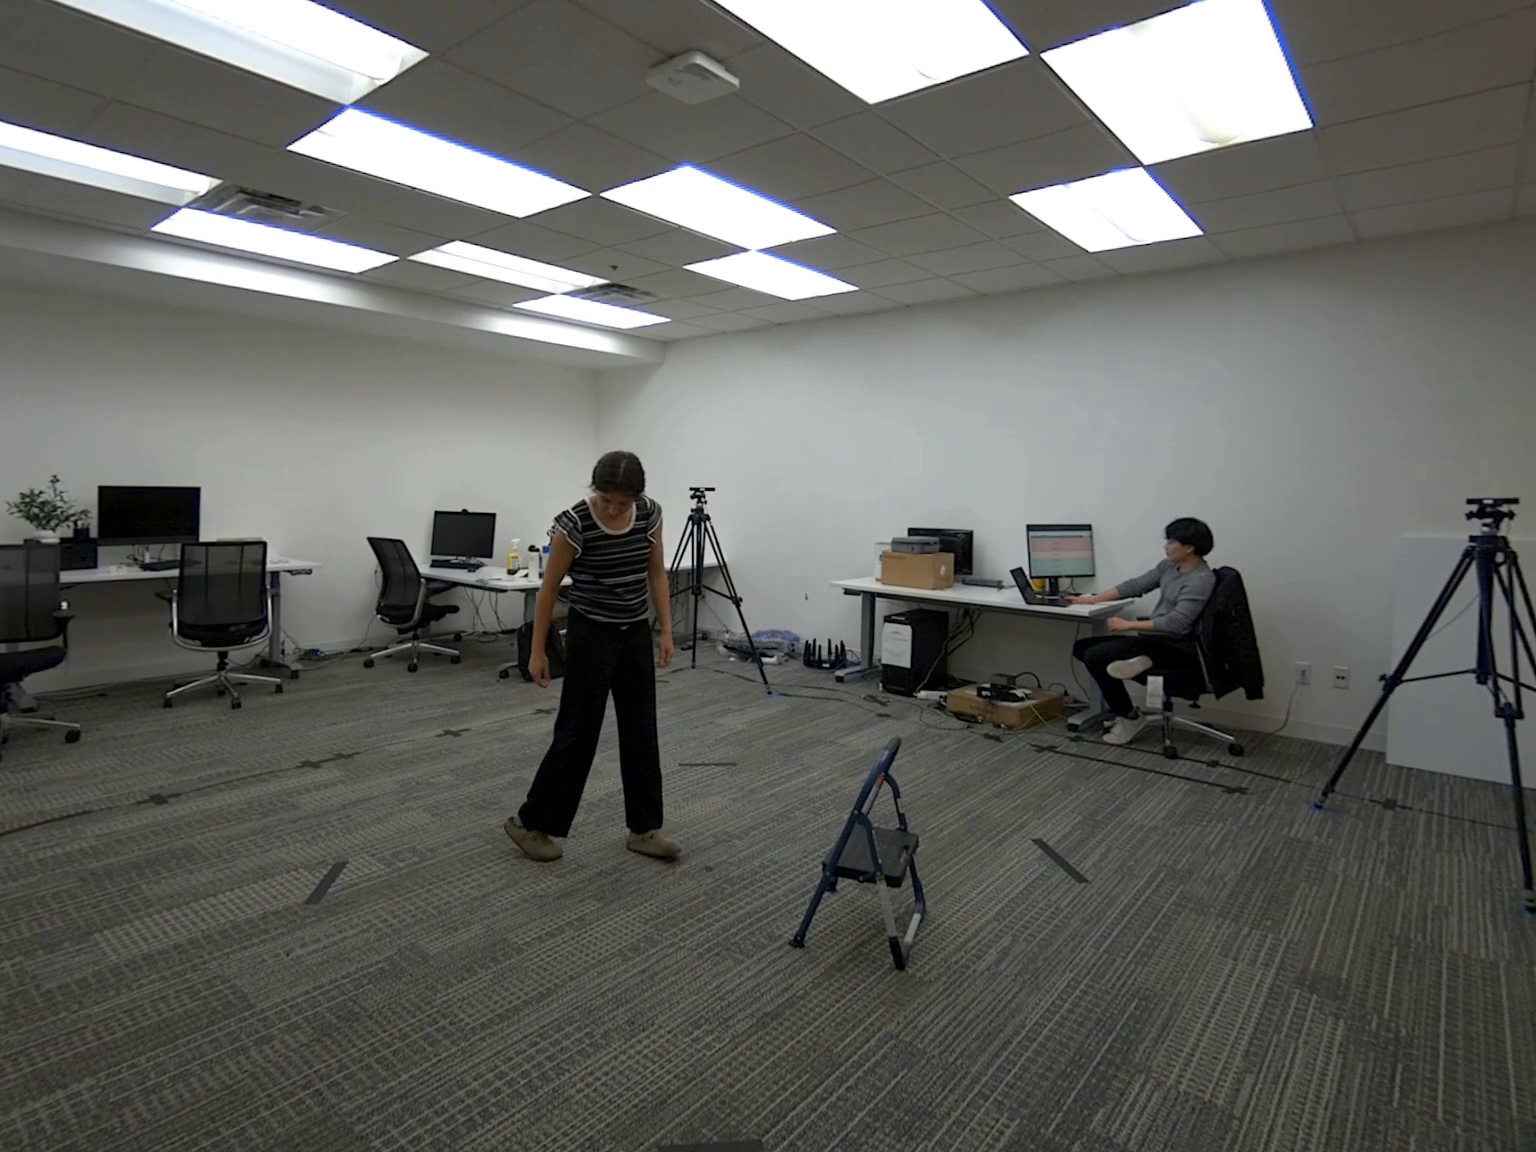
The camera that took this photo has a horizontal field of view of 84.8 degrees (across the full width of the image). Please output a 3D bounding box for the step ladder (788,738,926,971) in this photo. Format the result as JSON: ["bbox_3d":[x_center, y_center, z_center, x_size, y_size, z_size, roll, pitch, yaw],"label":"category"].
[{"bbox_3d":[0.299,0.817,2.705,0.357,0.604,0.423,2,4,20],"label":"step ladder"}]
